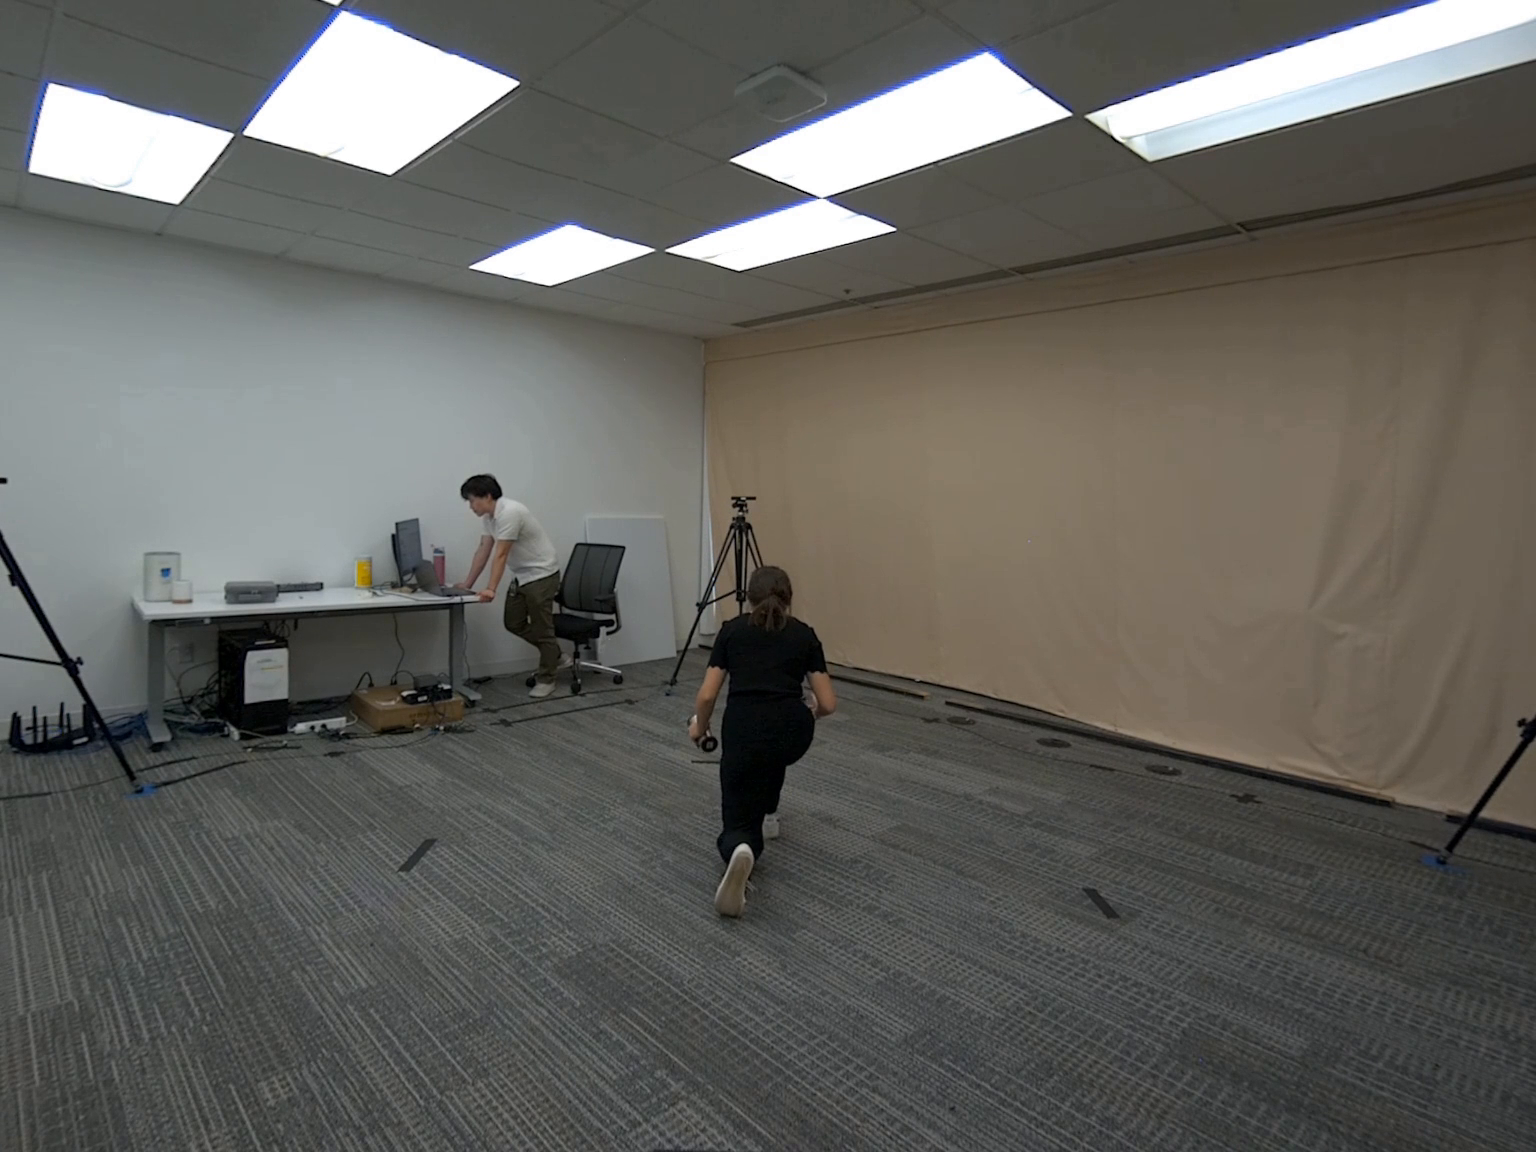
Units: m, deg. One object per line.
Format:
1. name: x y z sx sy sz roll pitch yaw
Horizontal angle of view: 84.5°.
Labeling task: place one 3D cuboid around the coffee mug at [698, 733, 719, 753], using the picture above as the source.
1. coffee mug: -0.268 0.664 3.541 0.086 0.121 0.209 10 17 -26
